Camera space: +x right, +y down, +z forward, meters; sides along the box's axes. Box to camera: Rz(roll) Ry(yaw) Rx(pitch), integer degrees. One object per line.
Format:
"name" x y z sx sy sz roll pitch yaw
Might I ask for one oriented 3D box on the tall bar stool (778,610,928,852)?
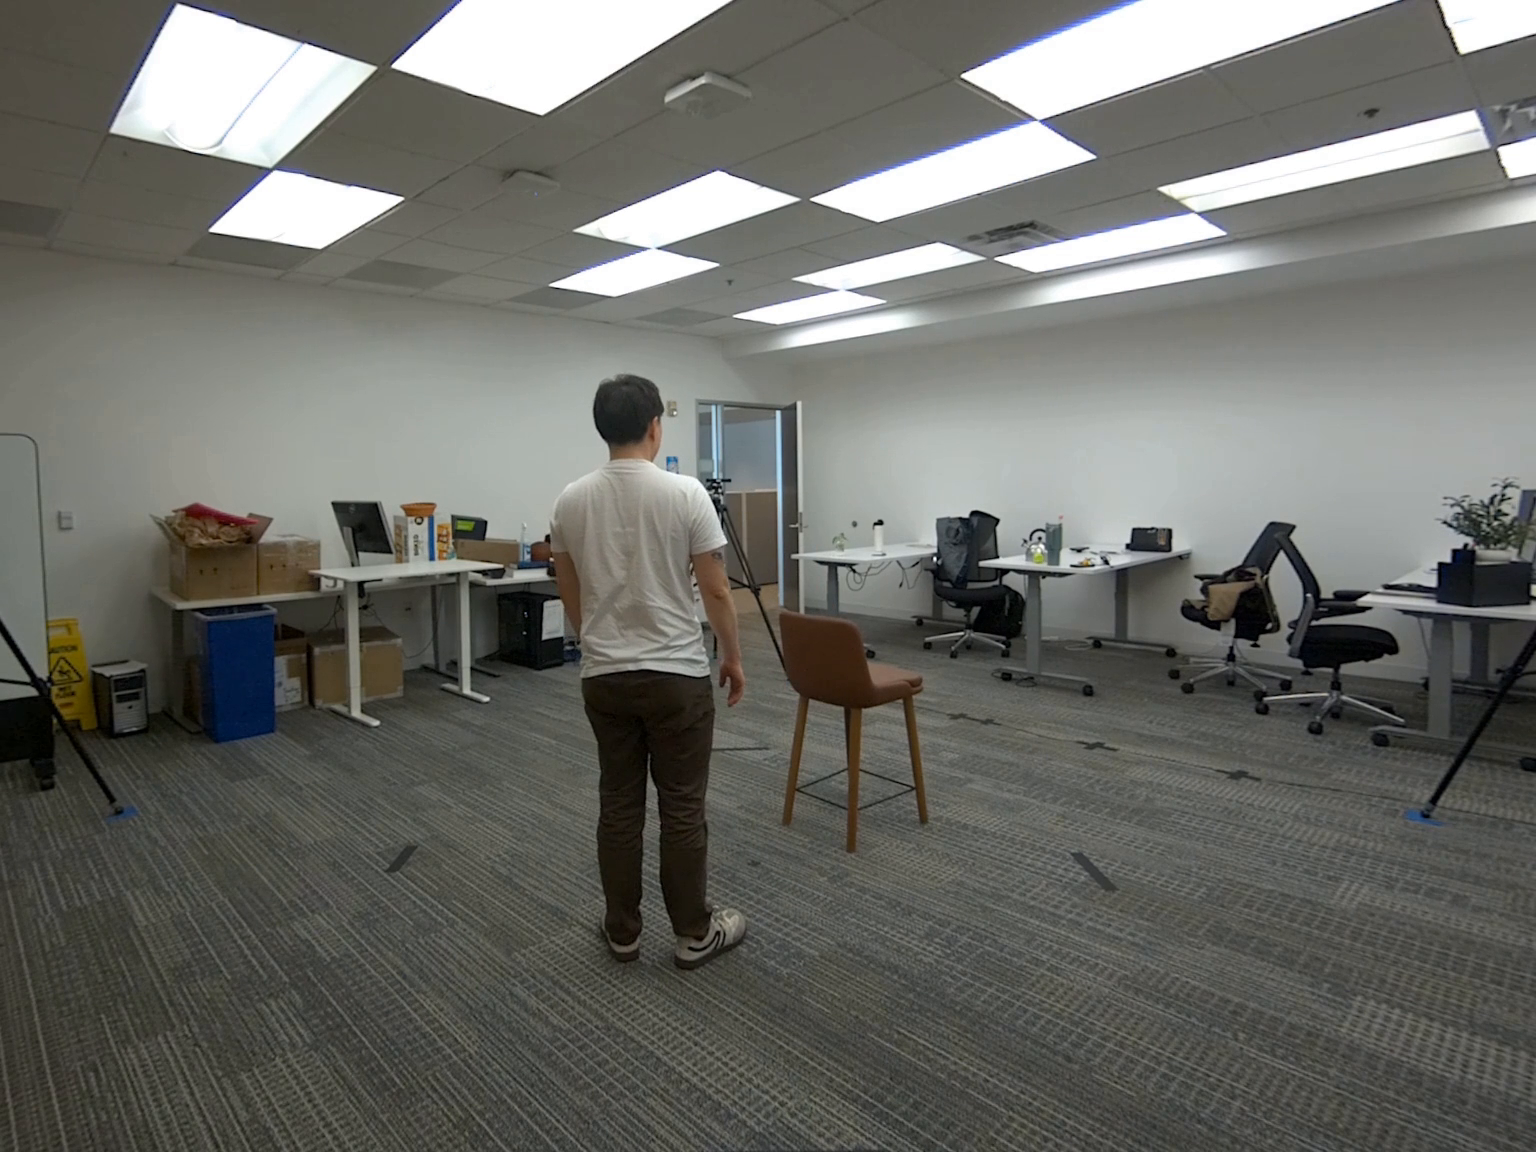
"tall bar stool" 0.339 0.568 3.434 0.456 0.886 0.470 -6 7 -41
